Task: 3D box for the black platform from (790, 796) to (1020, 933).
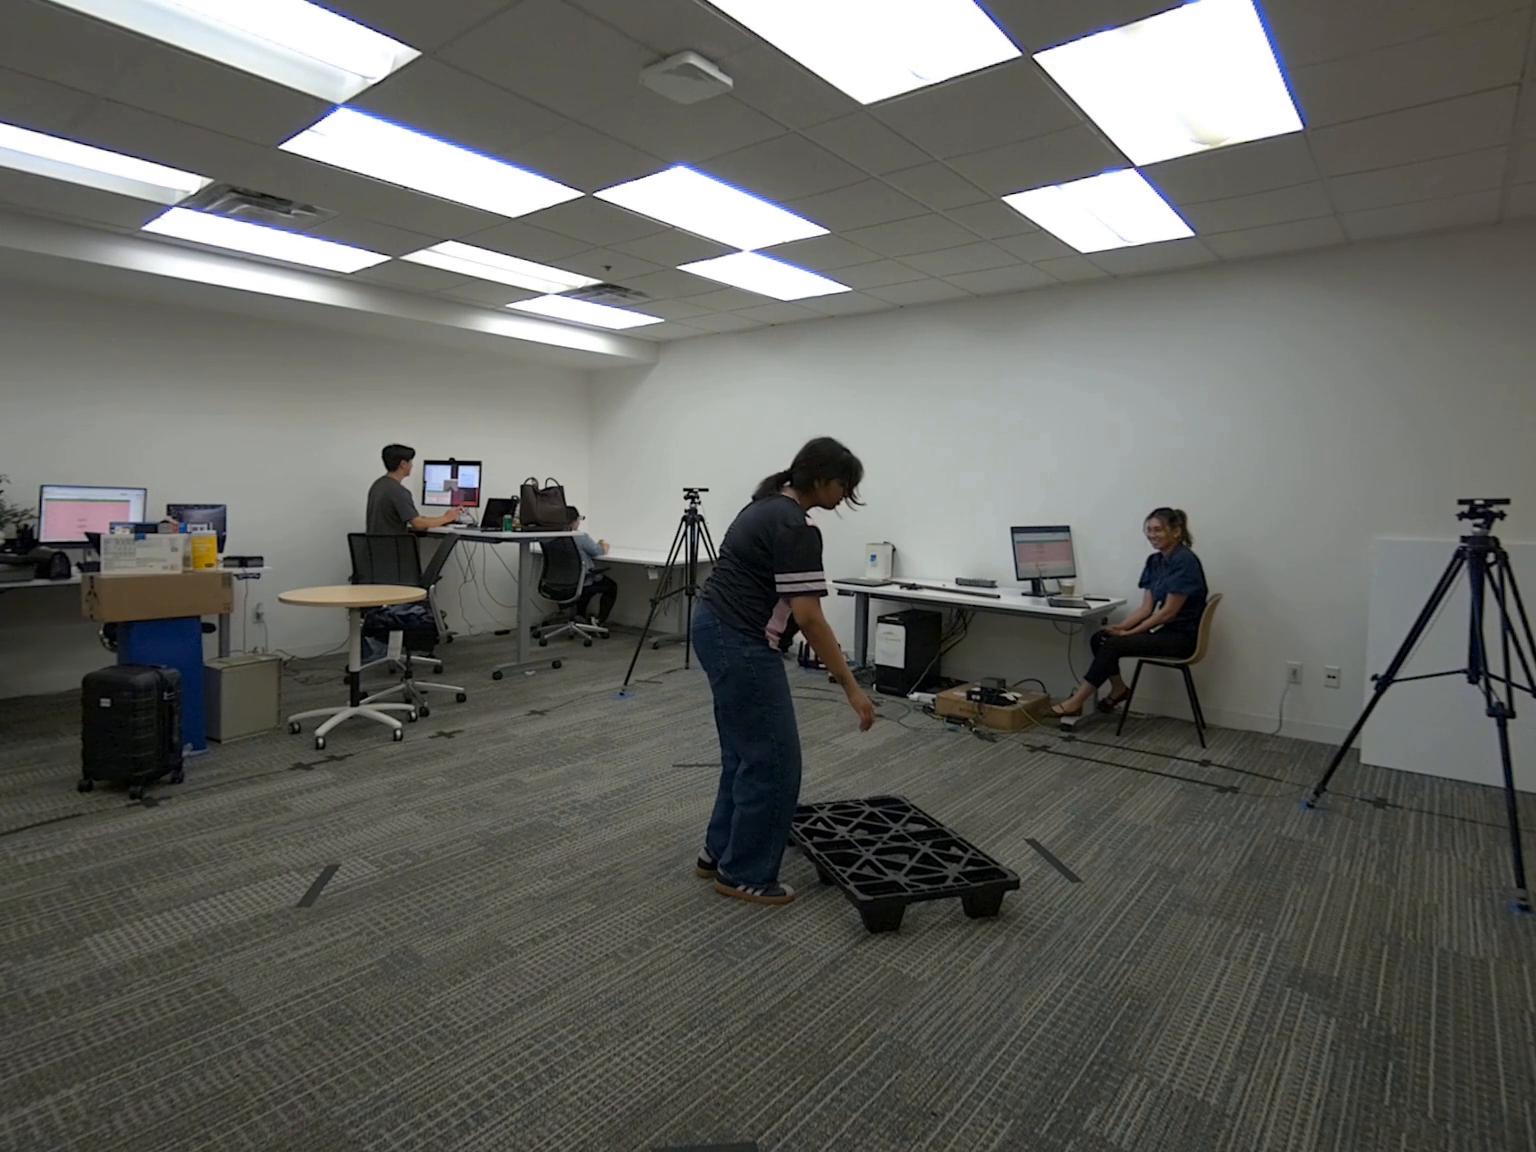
[{"bbox_3d":[0.412,1.018,3.095,0.593,0.143,0.825,0,6,-20],"label":"black platform"}]
